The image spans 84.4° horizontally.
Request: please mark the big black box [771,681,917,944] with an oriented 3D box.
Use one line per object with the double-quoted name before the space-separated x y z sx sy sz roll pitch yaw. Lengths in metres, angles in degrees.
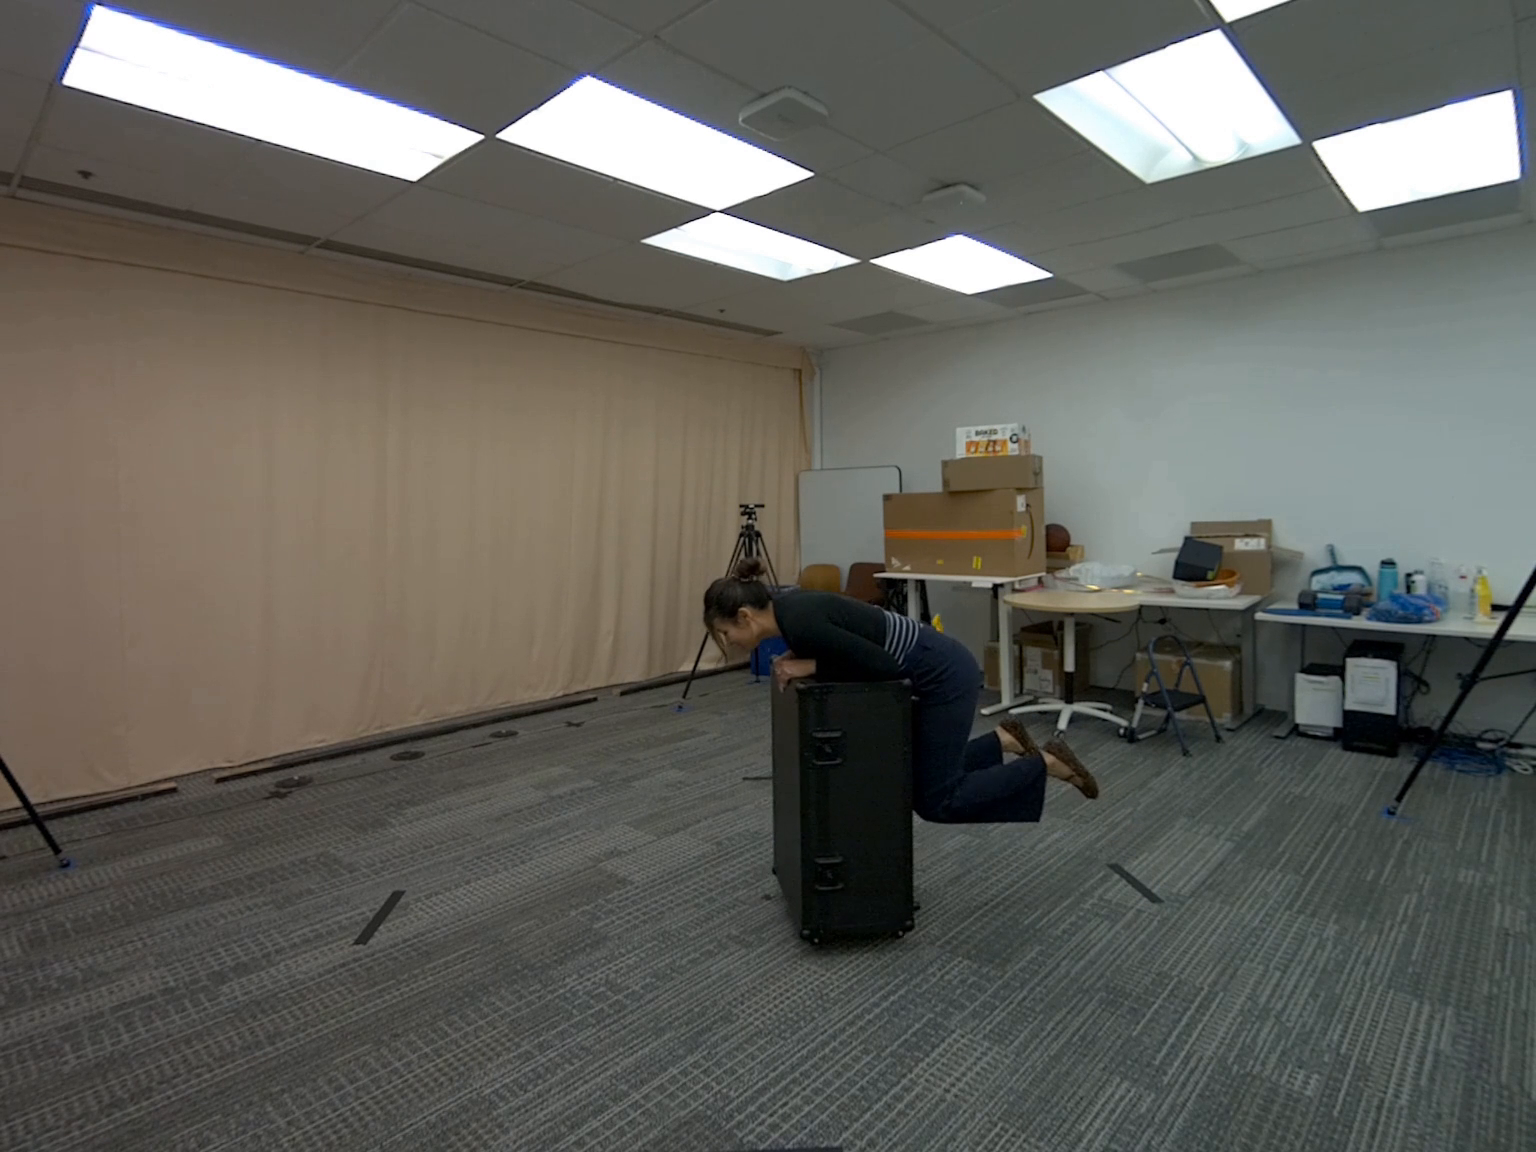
"big black box" 0.247 0.733 2.795 0.393 0.860 0.527 0 3 -9
